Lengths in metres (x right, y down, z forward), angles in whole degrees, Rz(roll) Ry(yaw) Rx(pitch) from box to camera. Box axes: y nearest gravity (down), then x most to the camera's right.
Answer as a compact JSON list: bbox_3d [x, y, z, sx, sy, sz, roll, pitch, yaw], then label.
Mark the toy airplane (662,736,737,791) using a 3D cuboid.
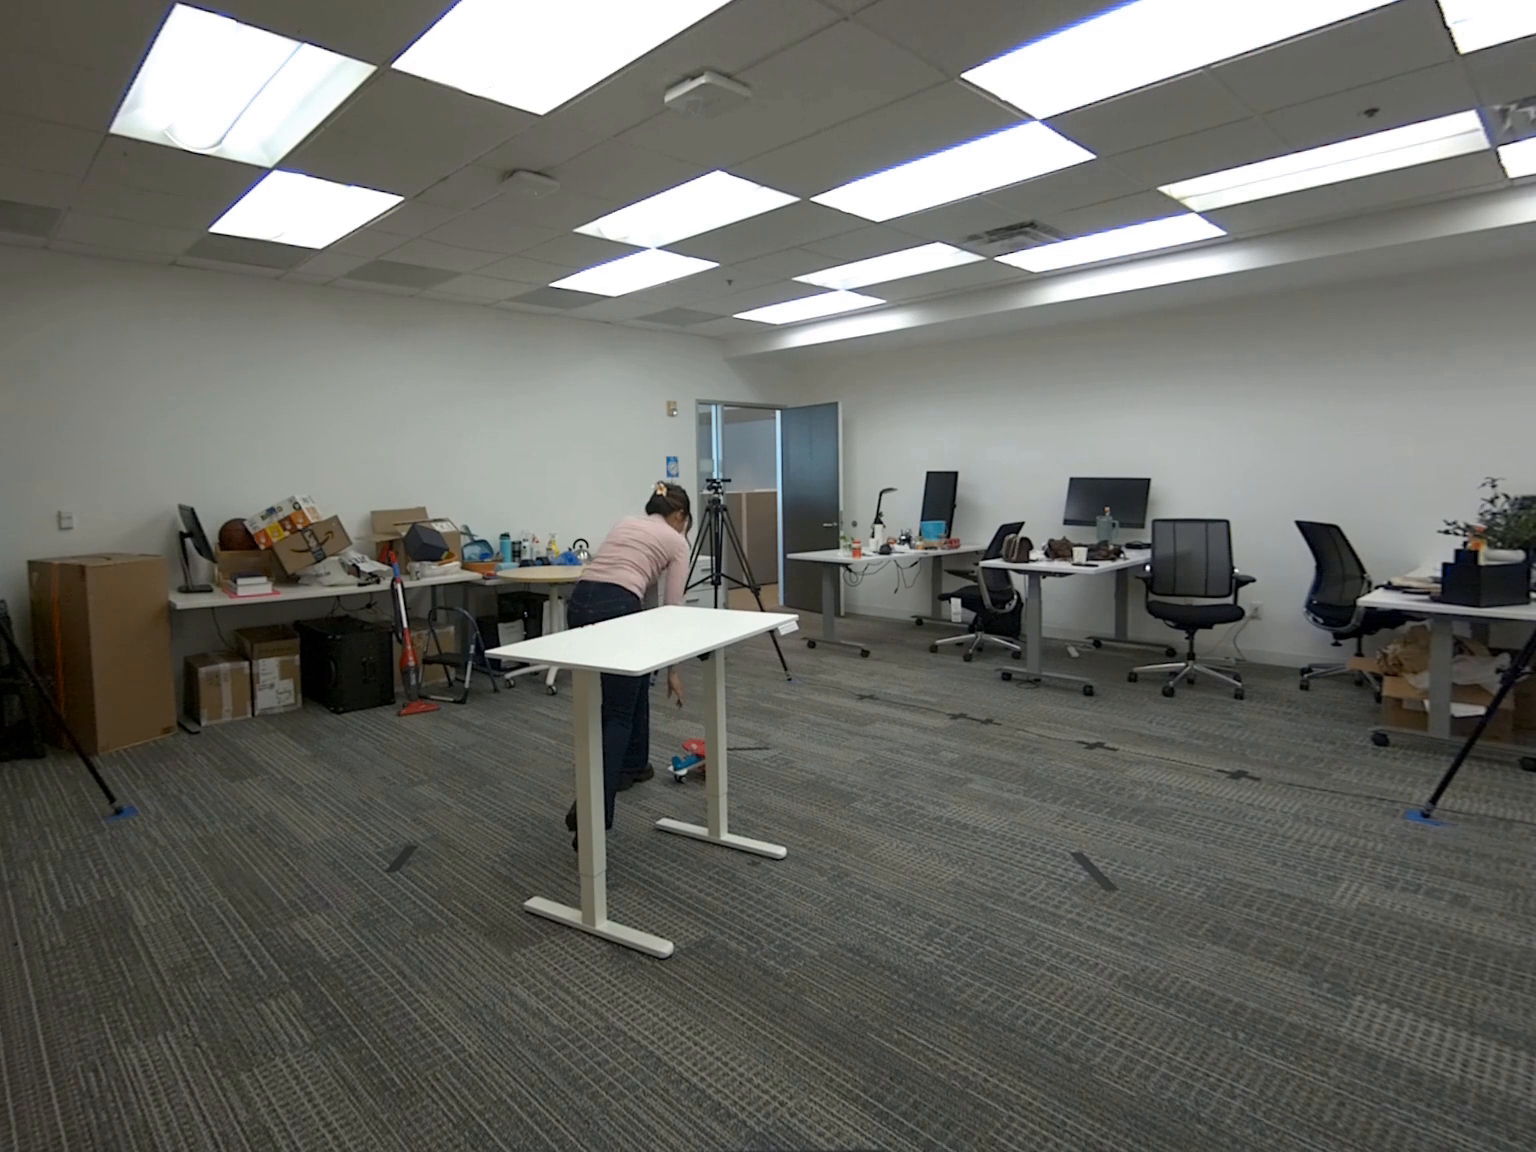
[{"bbox_3d":[-0.318,0.866,3.988,0.257,0.156,0.254,0,4,25],"label":"toy airplane"}]
